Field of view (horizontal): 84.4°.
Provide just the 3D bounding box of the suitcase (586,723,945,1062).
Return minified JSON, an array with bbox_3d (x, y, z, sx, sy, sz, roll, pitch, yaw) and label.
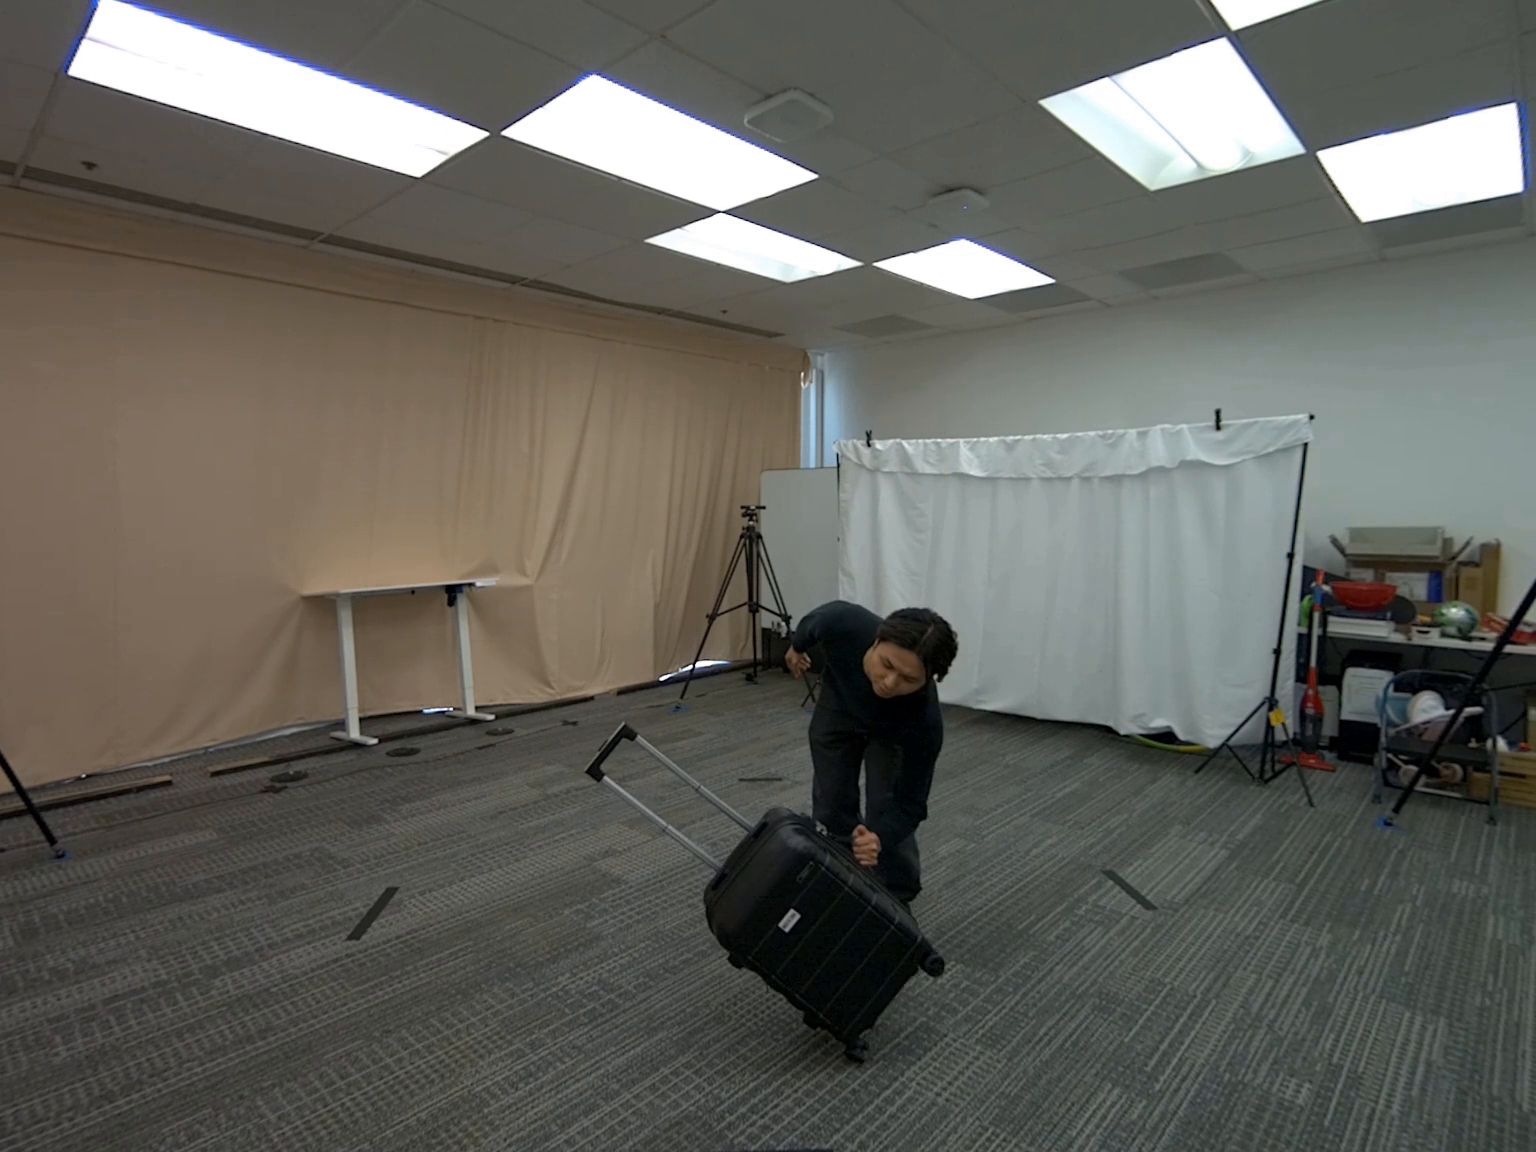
[{"bbox_3d":[-0.019,0.755,2.116,0.963,0.383,0.261,43,-4,-13],"label":"suitcase"}]
